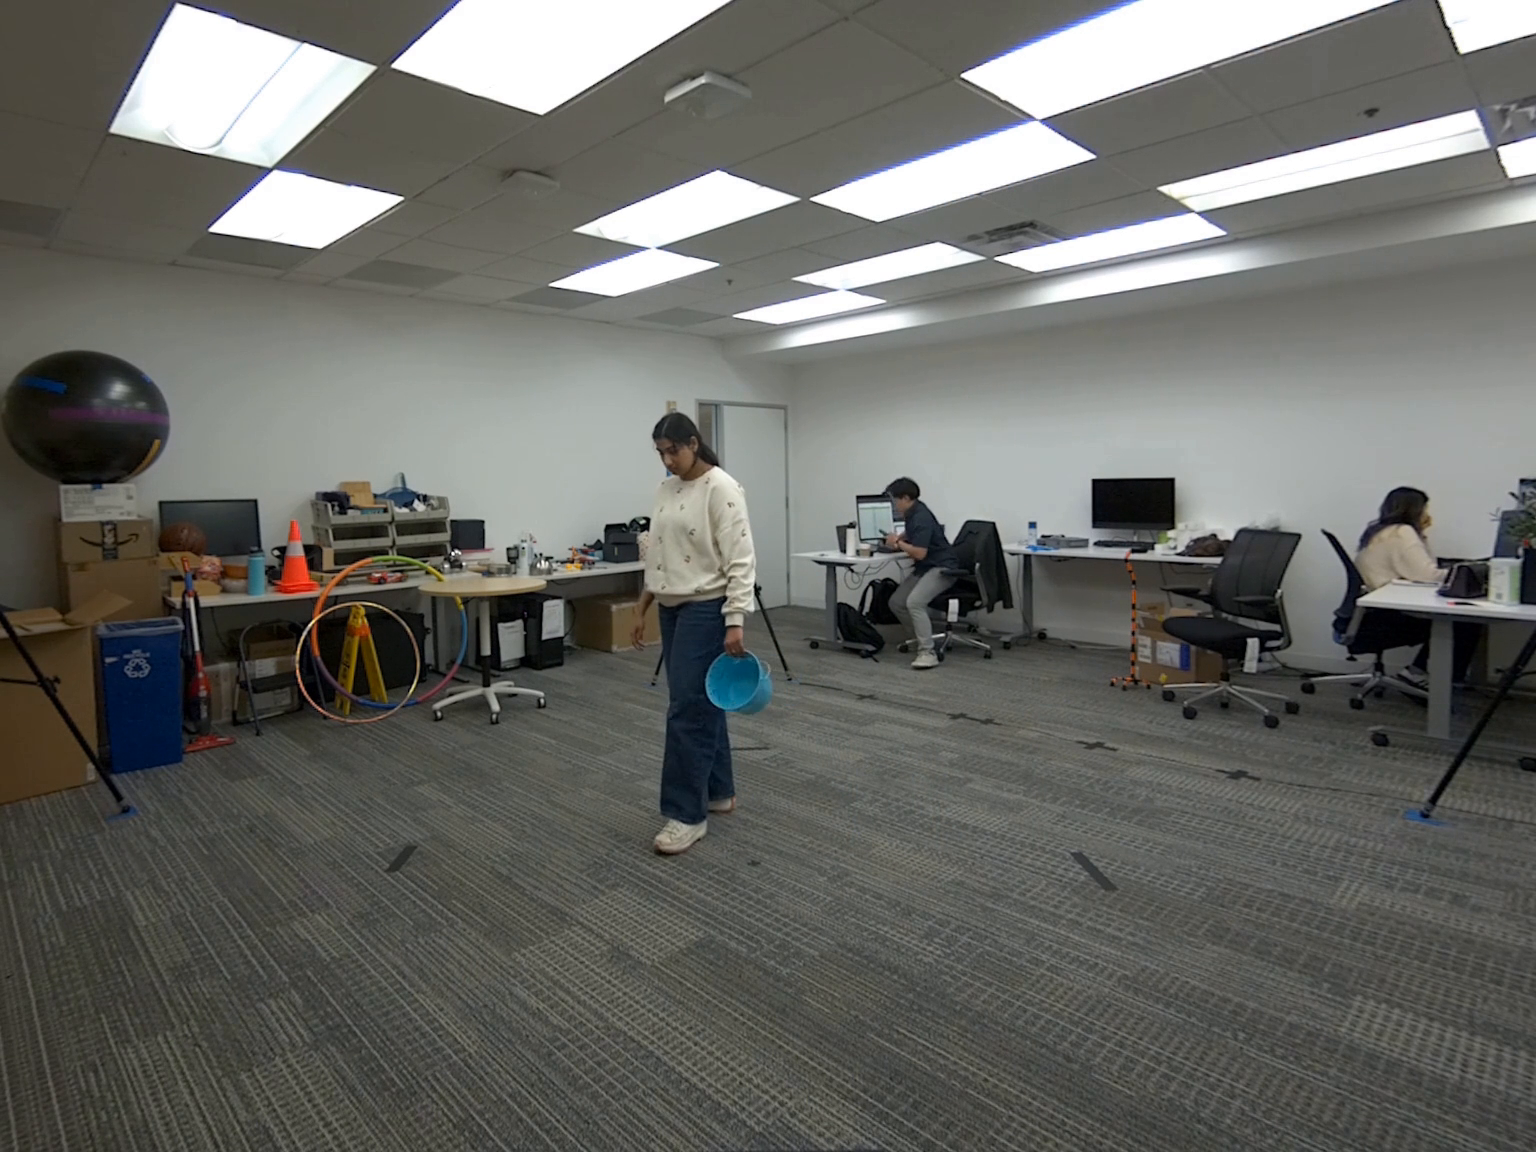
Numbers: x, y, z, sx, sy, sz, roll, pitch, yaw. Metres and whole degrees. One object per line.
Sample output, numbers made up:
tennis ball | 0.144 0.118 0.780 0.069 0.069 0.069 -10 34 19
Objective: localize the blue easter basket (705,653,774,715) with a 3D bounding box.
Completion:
blue easter basket | -0.099 0.400 3.212 0.250 0.247 0.150 2 -26 29
